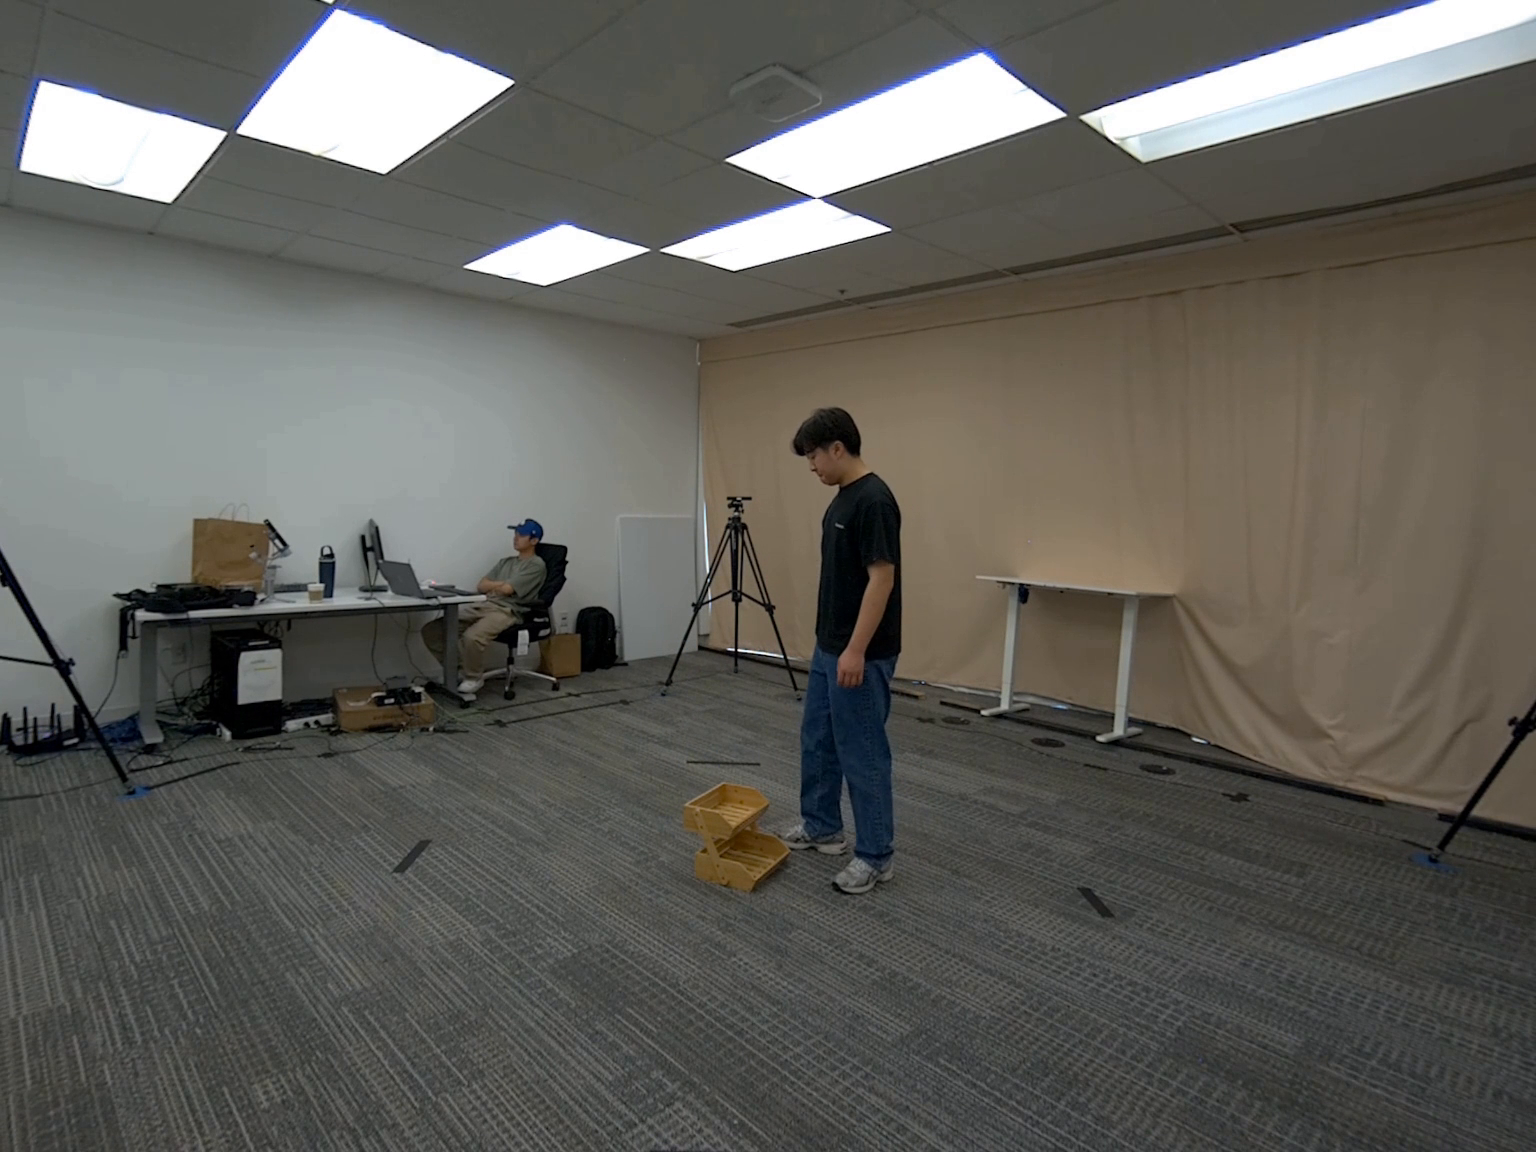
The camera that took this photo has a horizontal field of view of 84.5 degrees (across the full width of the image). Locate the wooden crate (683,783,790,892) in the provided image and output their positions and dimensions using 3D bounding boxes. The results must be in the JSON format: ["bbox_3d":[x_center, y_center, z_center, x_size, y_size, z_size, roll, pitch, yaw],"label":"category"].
[{"bbox_3d":[-0.108,0.968,3.162,0.308,0.272,0.318,3,5,28],"label":"wooden crate"}]
